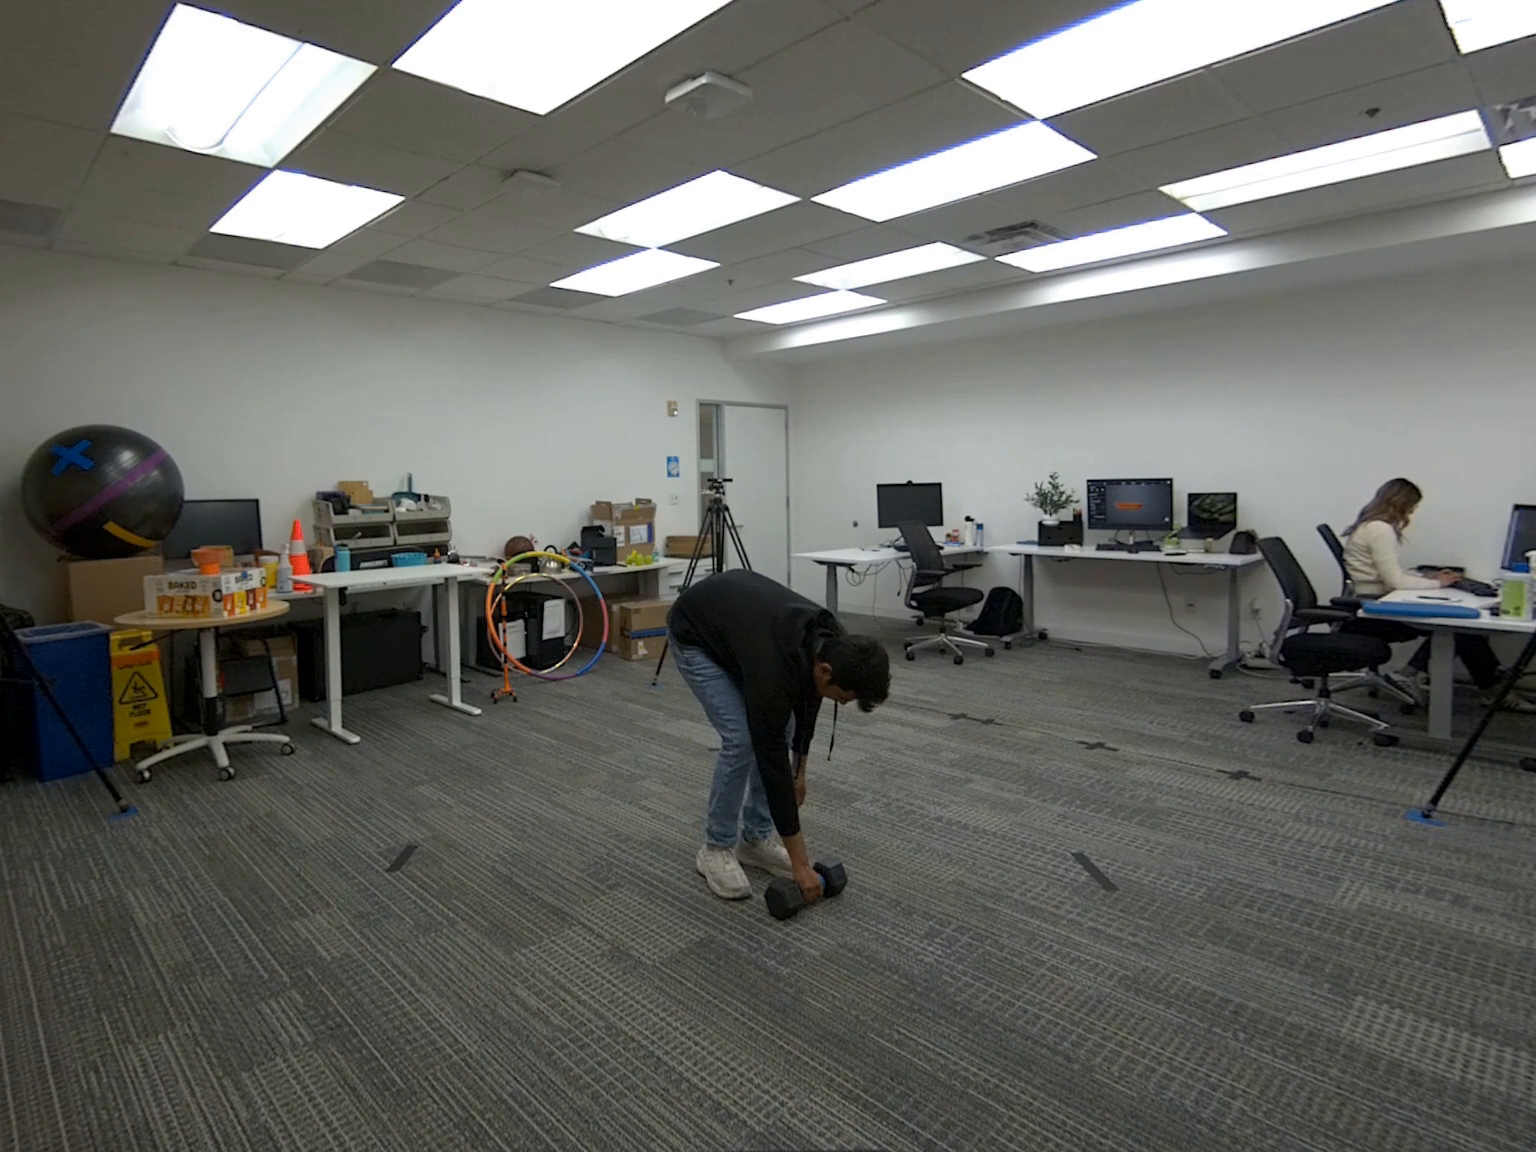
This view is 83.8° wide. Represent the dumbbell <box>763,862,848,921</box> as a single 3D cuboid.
[{"bbox_3d":[0.127,1.014,2.803,0.286,0.121,0.113,-7,42,-41],"label":"dumbbell"}]
